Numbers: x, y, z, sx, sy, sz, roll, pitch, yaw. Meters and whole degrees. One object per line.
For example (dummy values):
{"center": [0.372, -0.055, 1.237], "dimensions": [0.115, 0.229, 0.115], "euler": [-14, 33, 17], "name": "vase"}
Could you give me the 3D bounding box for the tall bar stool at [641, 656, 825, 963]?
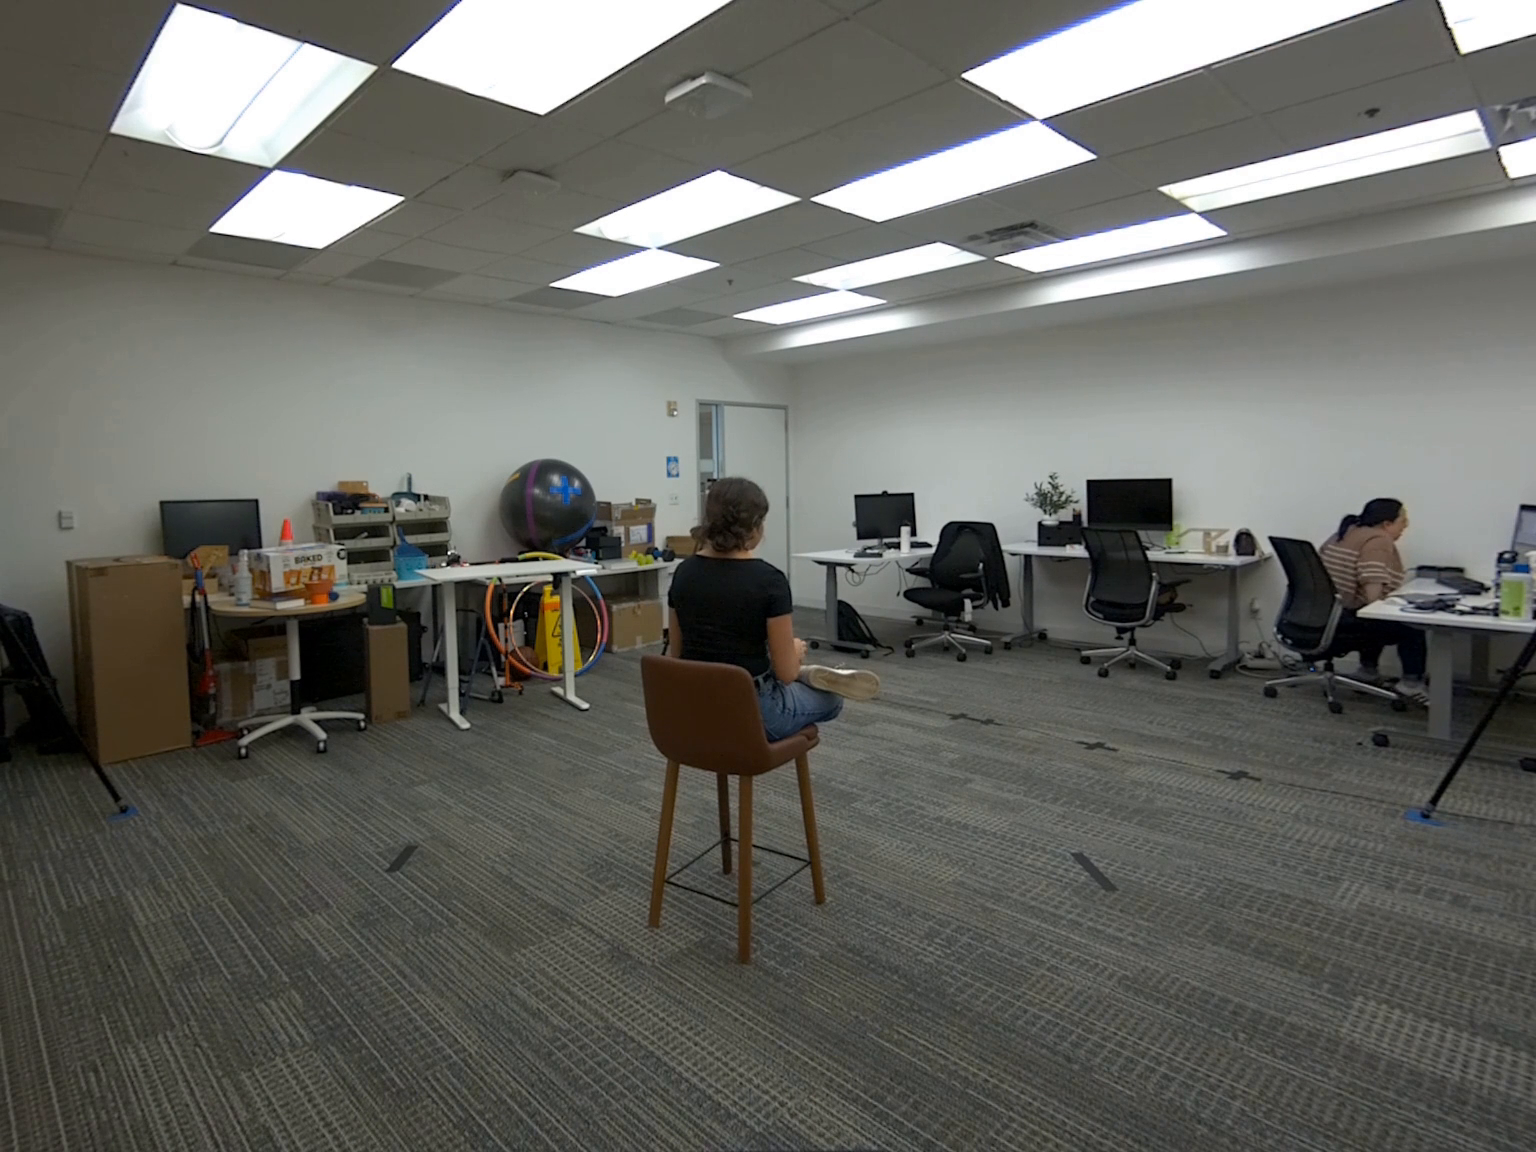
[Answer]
{"center": [-0.113, 0.658, 2.718], "dimensions": [0.469, 0.885, 0.457], "euler": [2, 7, 35], "name": "tall bar stool"}
